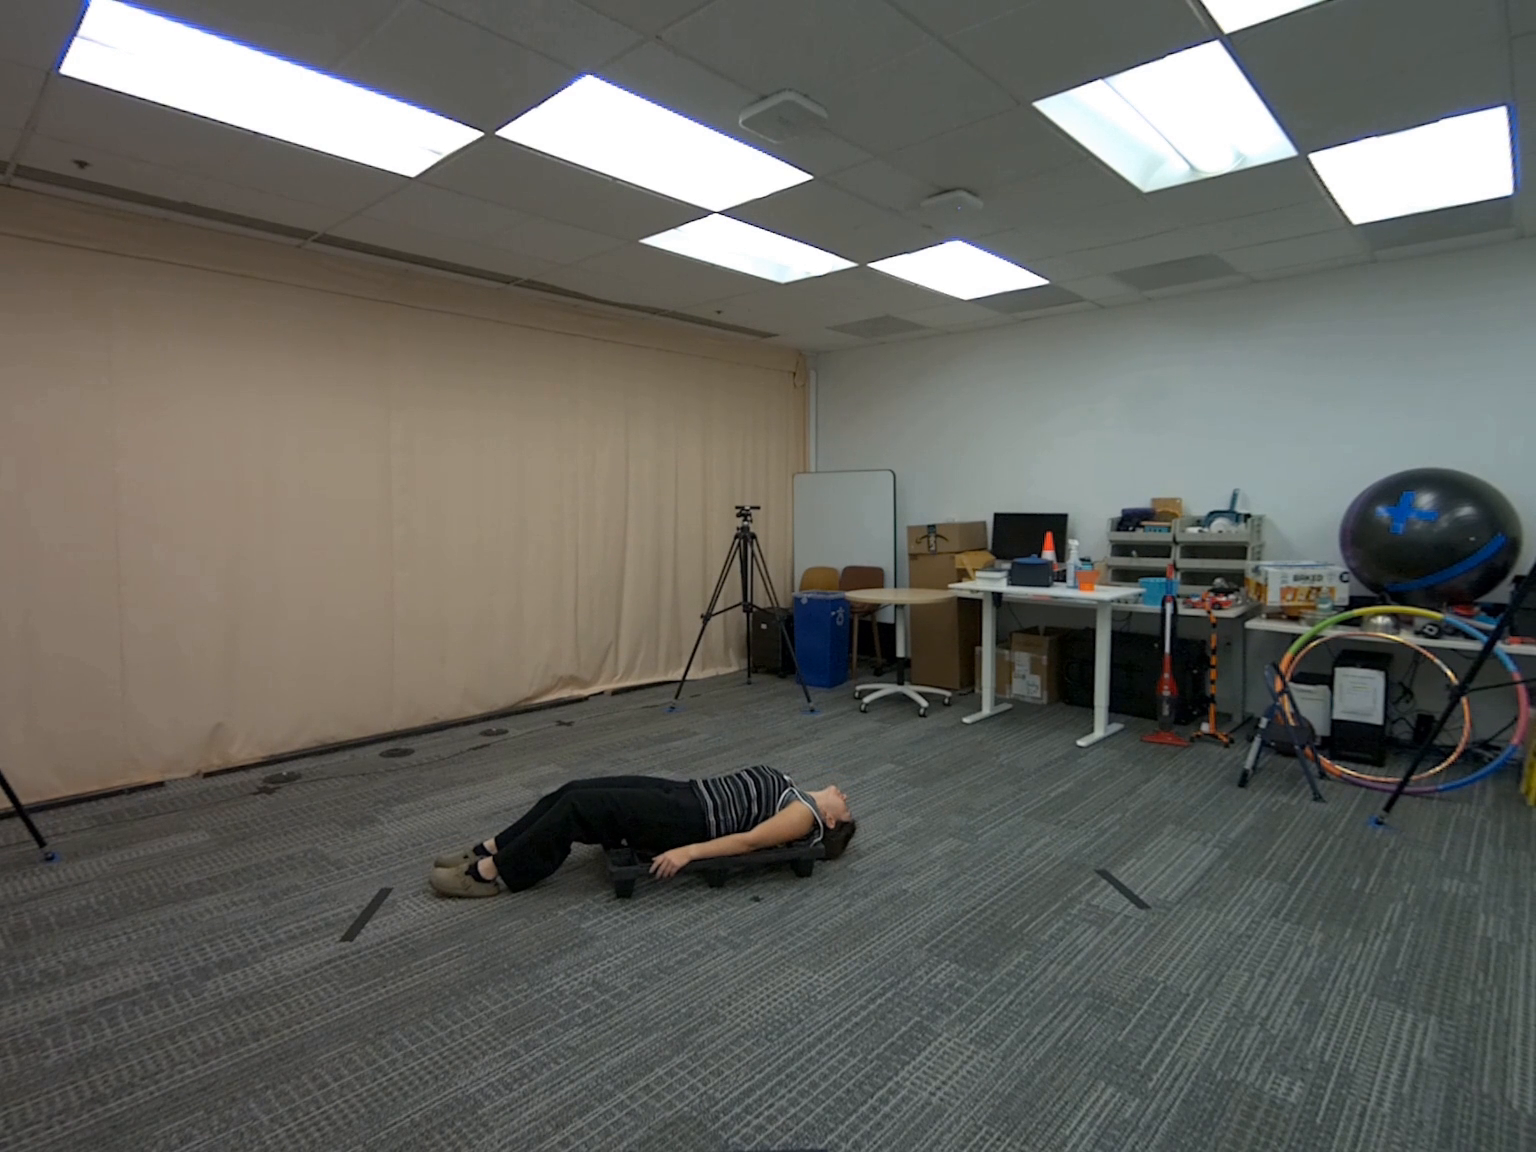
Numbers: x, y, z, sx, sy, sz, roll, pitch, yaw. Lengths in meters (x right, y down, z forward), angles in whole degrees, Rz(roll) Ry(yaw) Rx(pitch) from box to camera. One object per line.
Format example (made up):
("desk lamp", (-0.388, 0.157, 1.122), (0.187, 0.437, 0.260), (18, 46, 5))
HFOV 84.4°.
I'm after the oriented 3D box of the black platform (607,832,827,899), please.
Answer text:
("black platform", (-0.265, 1.055, 3.304), (0.794, 0.143, 0.616), (-2, 7, -15))
